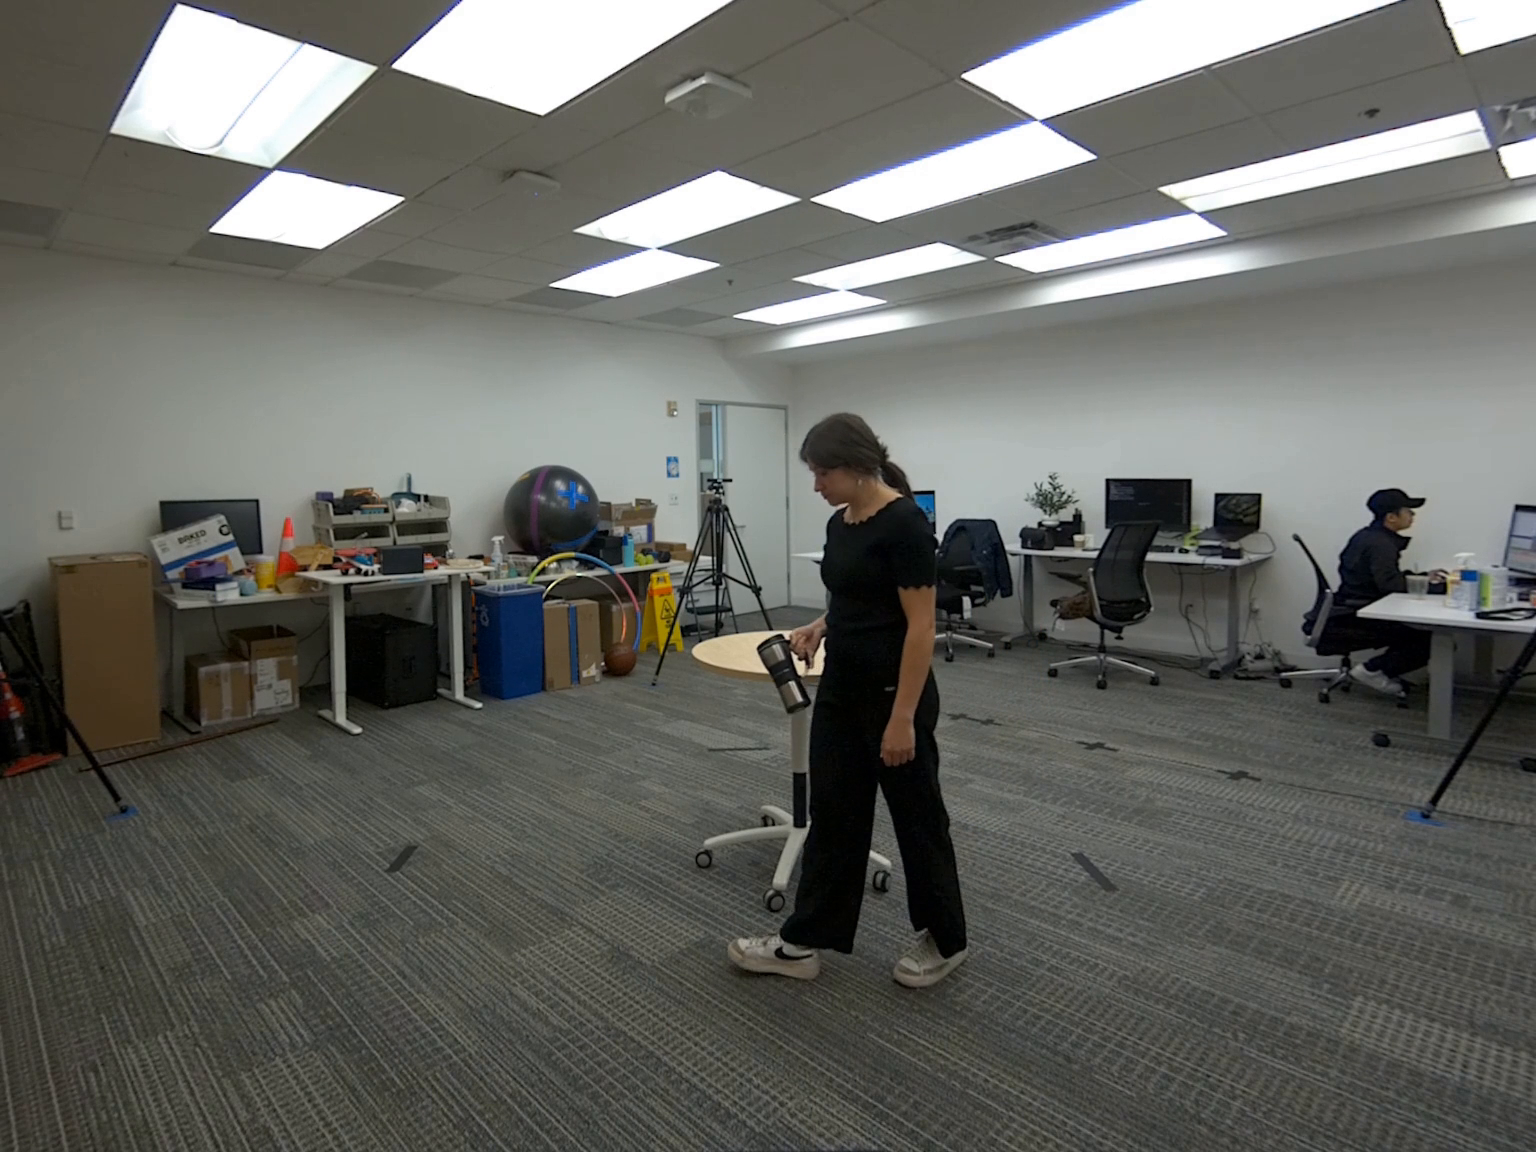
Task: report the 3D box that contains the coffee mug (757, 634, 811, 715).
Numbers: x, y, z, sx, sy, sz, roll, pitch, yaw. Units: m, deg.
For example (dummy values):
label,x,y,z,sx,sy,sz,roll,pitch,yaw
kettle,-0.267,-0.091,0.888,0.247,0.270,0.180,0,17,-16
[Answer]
label,x,y,z,sx,sy,sz,roll,pitch,yaw
coffee mug,0.071,0.264,2.339,0.120,0.208,0.087,-17,-21,-24
